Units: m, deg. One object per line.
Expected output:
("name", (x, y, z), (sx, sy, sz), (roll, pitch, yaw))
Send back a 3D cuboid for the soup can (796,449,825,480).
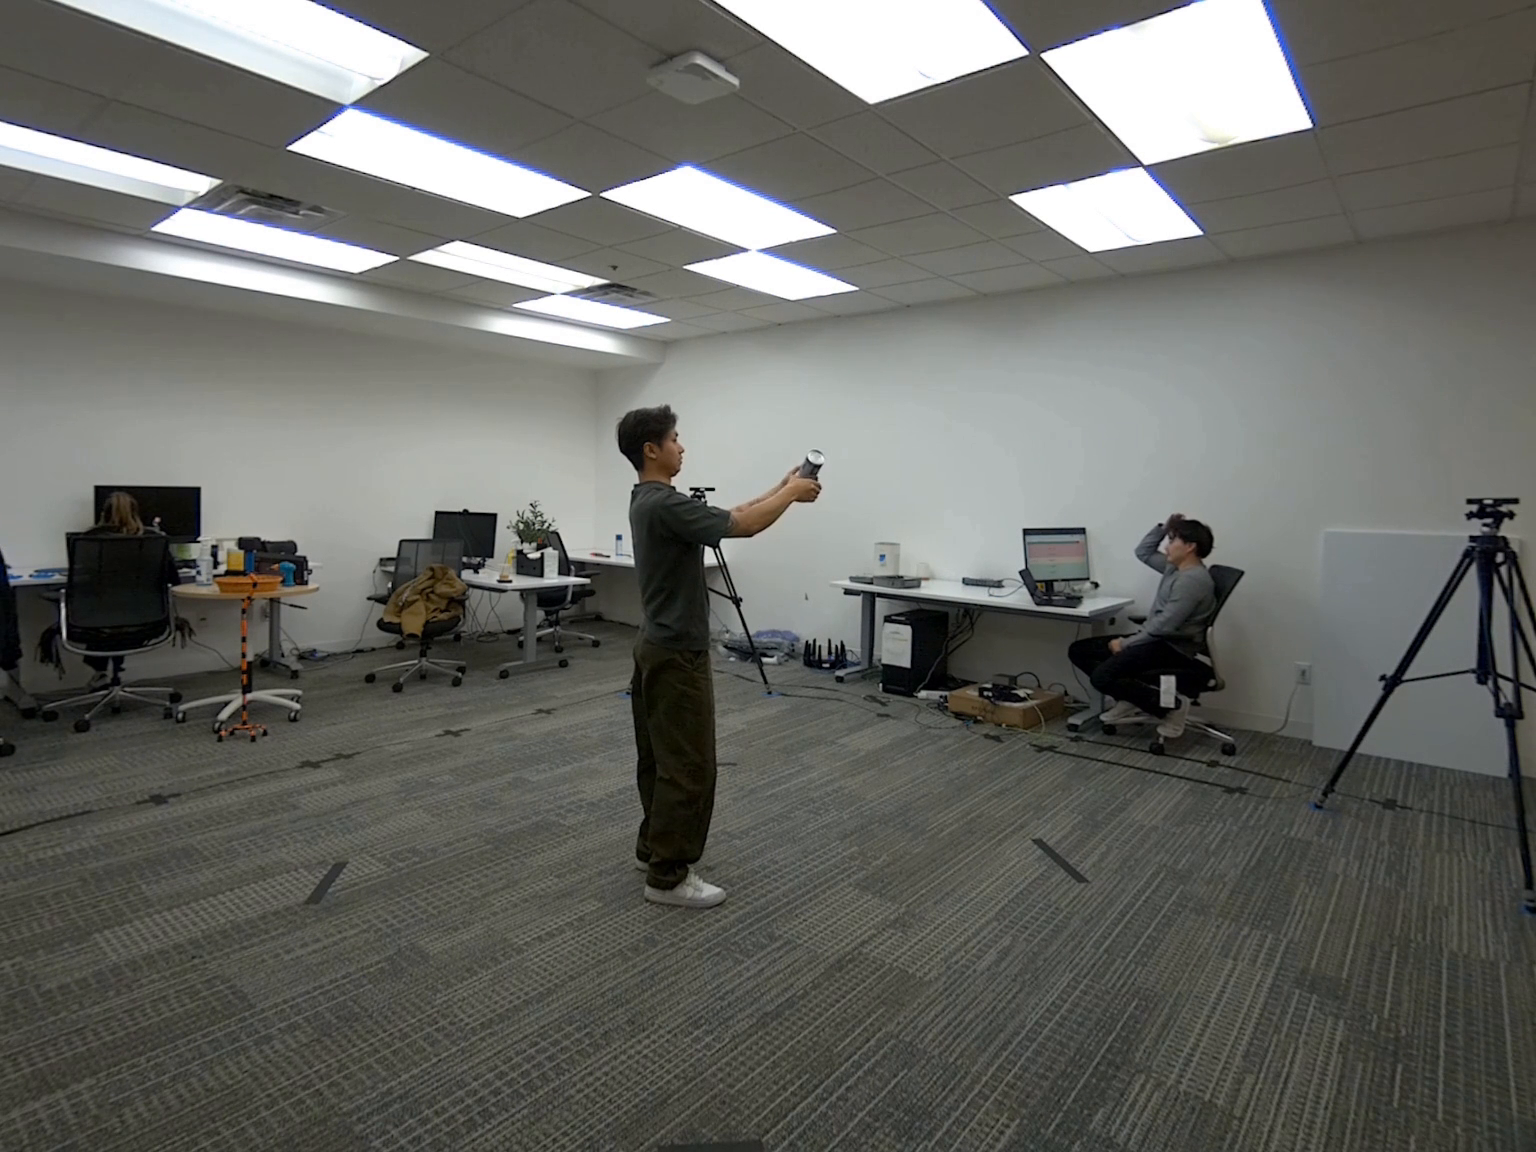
("soup can", (0.151, -0.400, 3.071), (0.065, 0.069, 0.120), (0, -34, -25))
